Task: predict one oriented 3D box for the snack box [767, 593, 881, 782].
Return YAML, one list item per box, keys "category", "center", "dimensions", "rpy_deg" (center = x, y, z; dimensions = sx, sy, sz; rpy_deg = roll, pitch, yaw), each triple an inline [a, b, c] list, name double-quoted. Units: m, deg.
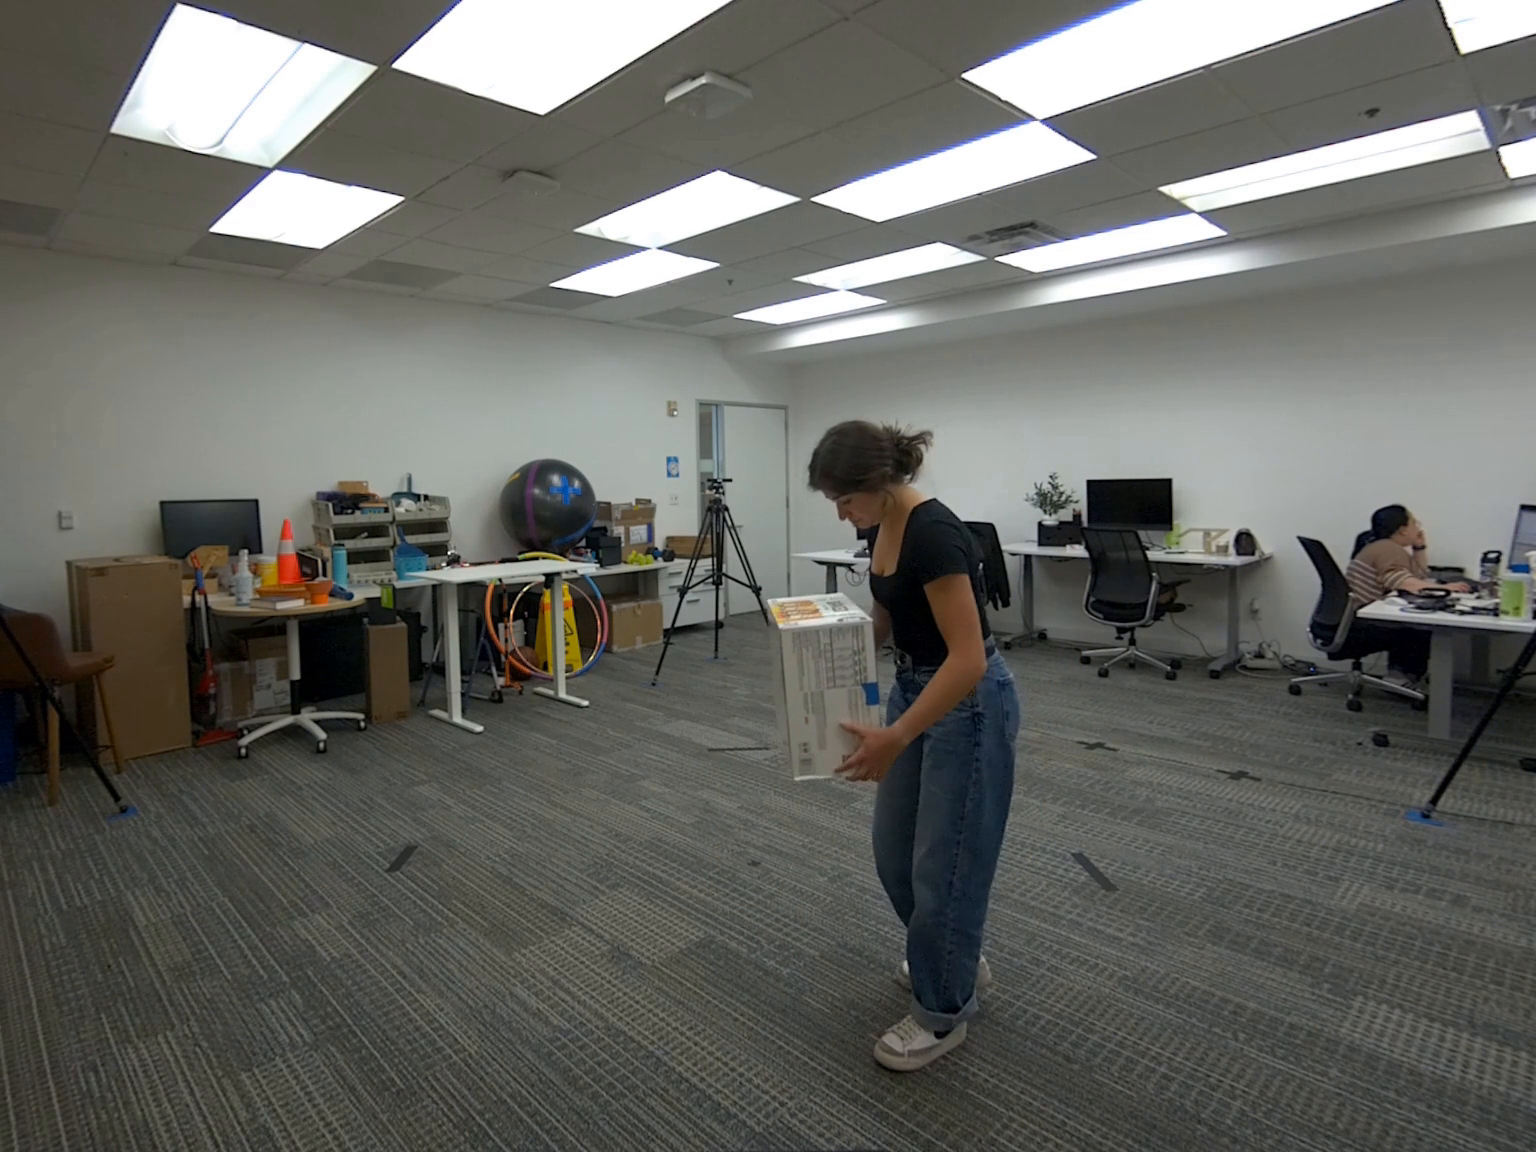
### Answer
- category: "snack box"
  center: [0.123, 0.250, 2.036]
  dimensions: [0.206, 0.339, 0.407]
  rpy_deg: [-5, 6, 0]
